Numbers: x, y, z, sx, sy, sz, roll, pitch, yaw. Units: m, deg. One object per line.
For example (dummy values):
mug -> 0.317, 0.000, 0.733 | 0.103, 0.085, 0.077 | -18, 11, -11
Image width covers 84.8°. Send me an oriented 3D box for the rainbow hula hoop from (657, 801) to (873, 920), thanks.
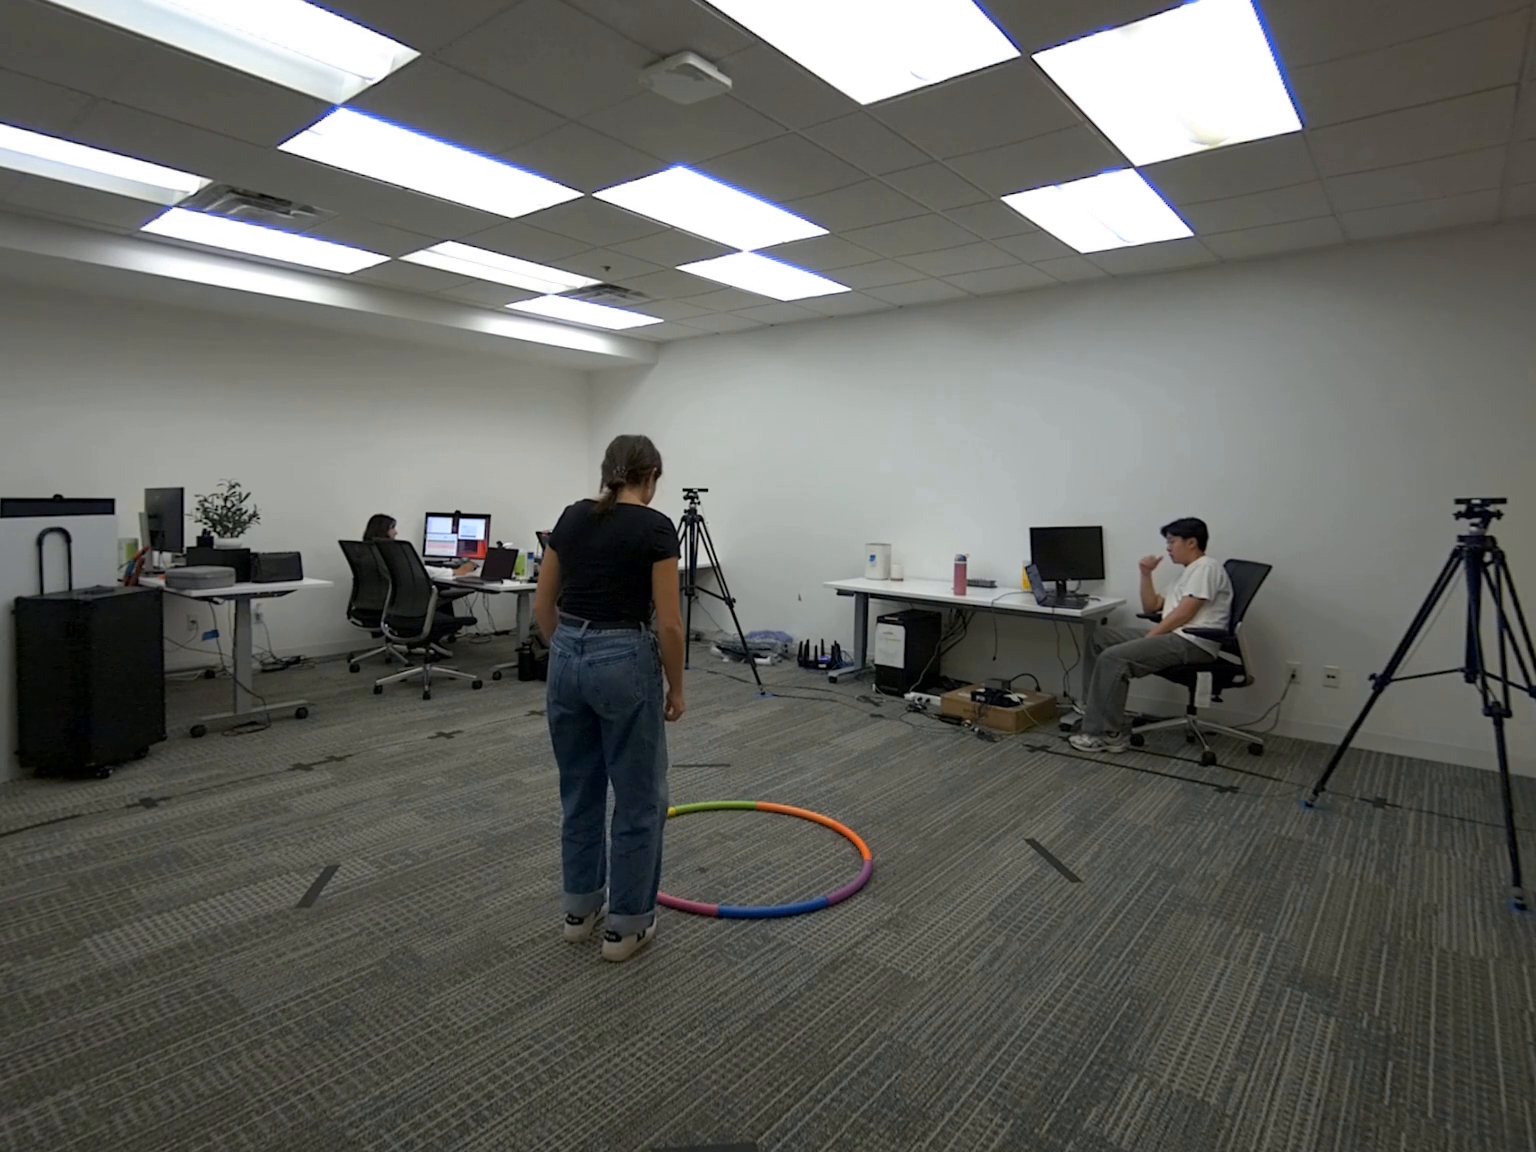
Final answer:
rainbow hula hoop -> -0.099, 1.025, 3.230 | 0.978, 0.035, 0.984 | 1, 6, -2
